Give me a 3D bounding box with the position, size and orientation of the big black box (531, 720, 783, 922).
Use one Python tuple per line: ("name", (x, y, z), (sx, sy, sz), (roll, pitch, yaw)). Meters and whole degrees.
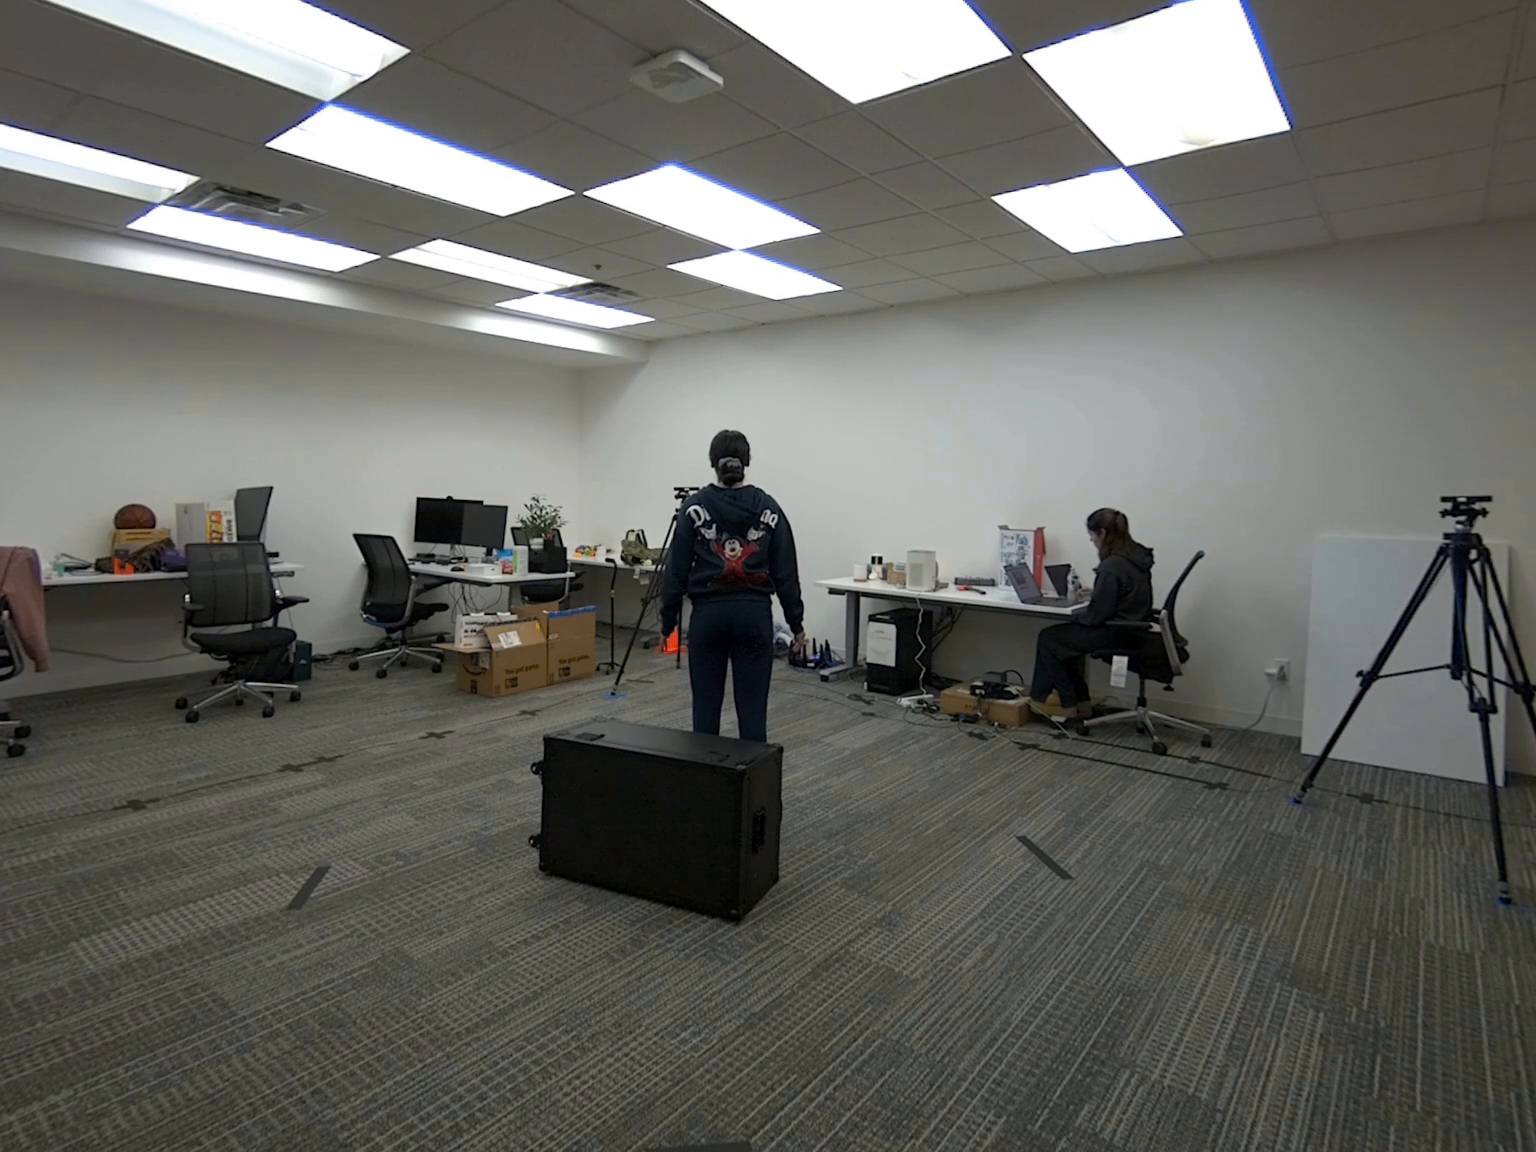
("big black box", (-0.416, 0.813, 3.047), (0.883, 0.521, 0.387), (3, 2, 24))
